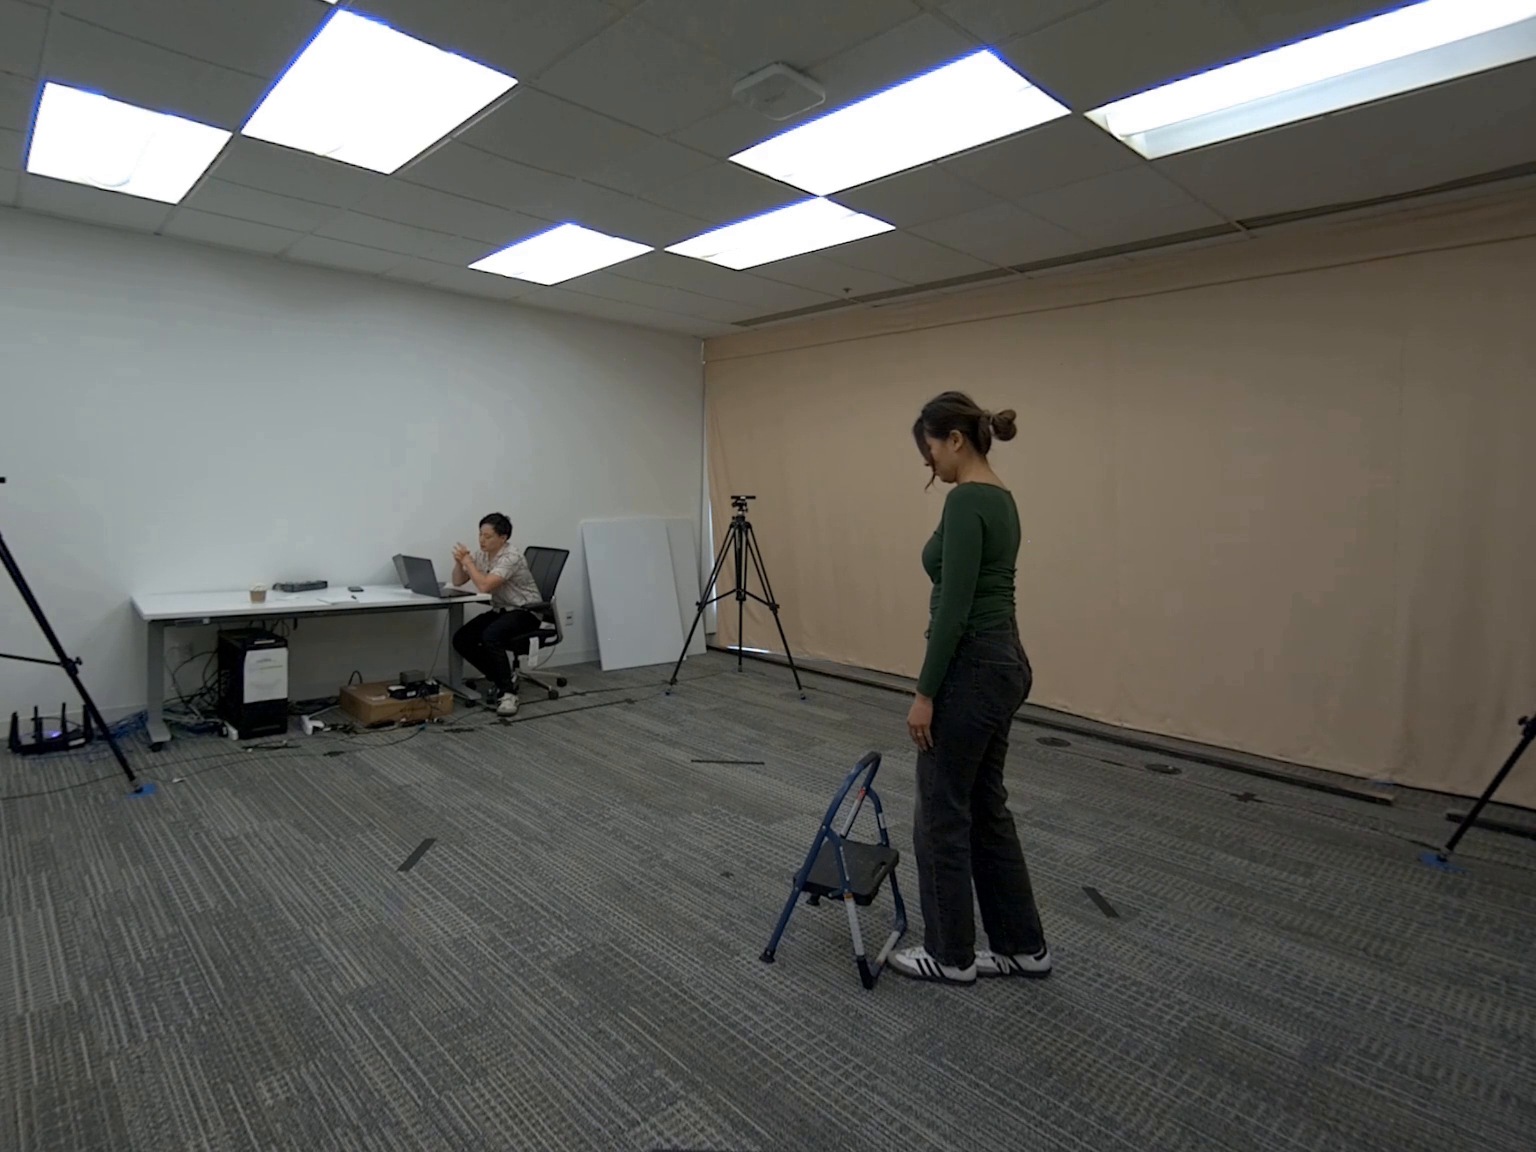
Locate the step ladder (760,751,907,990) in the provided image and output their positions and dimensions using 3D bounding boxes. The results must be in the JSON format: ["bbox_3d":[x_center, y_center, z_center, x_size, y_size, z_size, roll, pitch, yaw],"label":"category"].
[{"bbox_3d":[0.225,0.852,2.626,0.356,0.604,0.423,4,5,25],"label":"step ladder"}]
